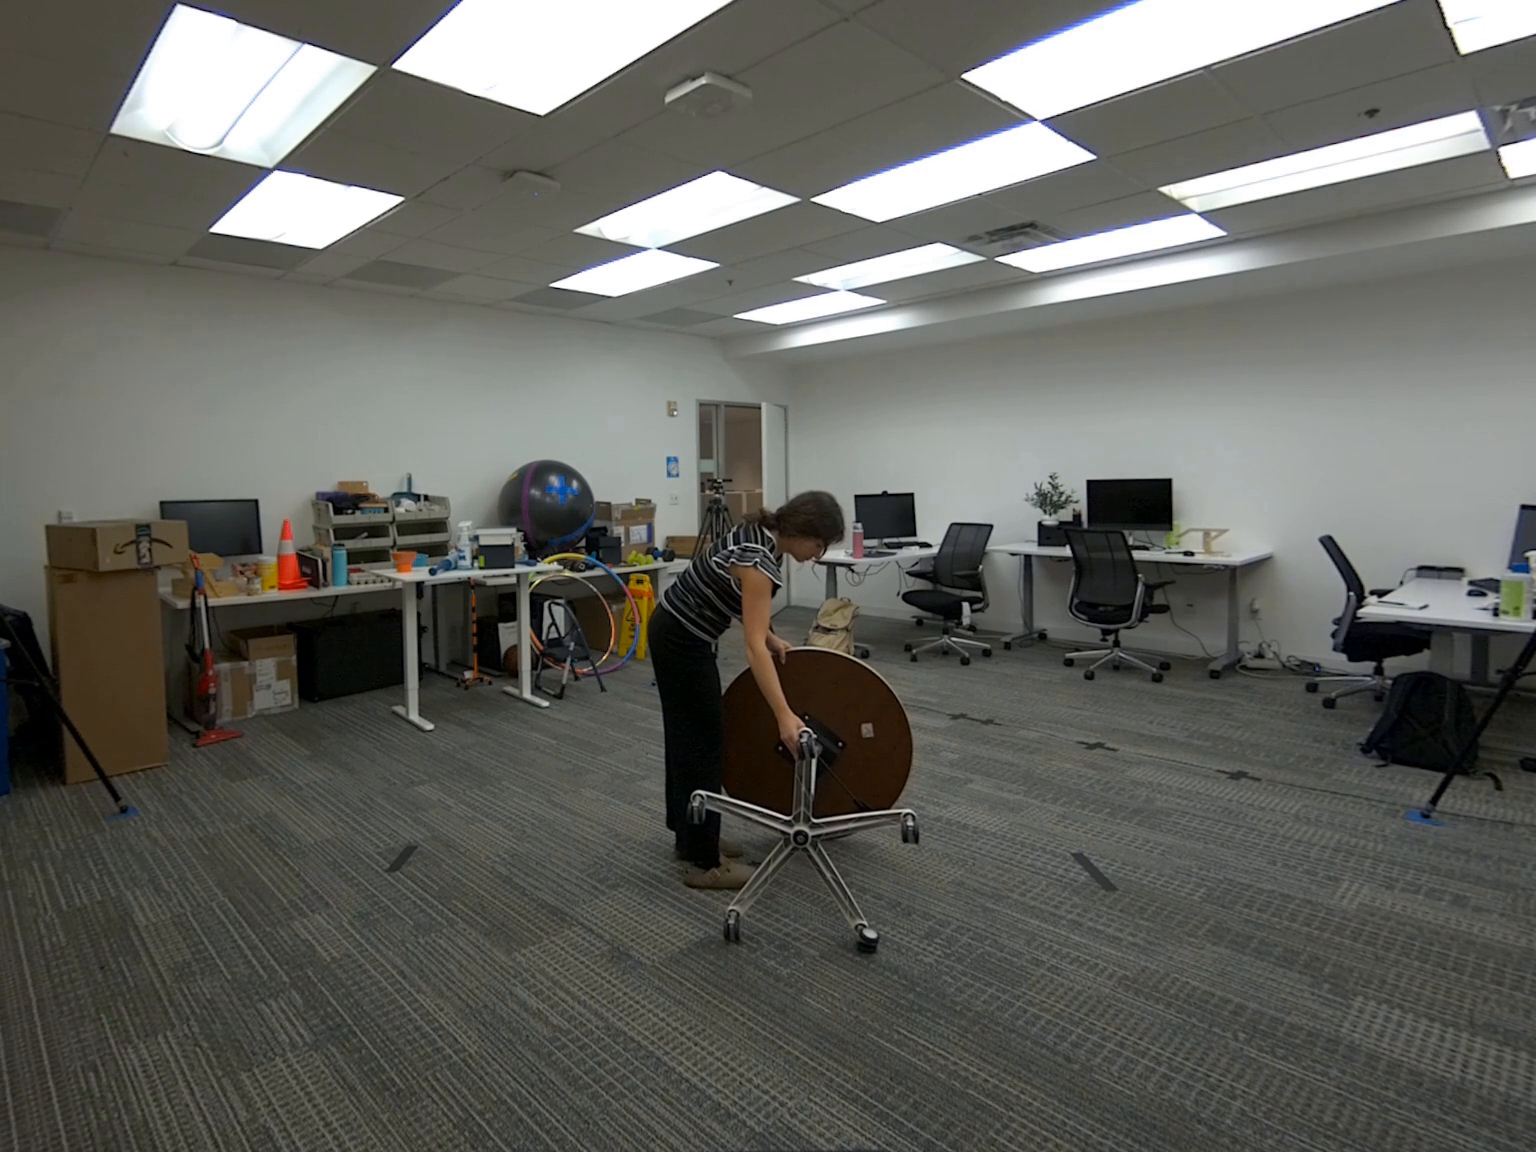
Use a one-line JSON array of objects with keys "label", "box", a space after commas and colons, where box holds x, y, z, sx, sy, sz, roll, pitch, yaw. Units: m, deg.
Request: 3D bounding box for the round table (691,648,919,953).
[{"label": "round table", "box": [0.136, 0.739, 2.864, 0.770, 0.757, 0.796, 0, 10, 6]}]
